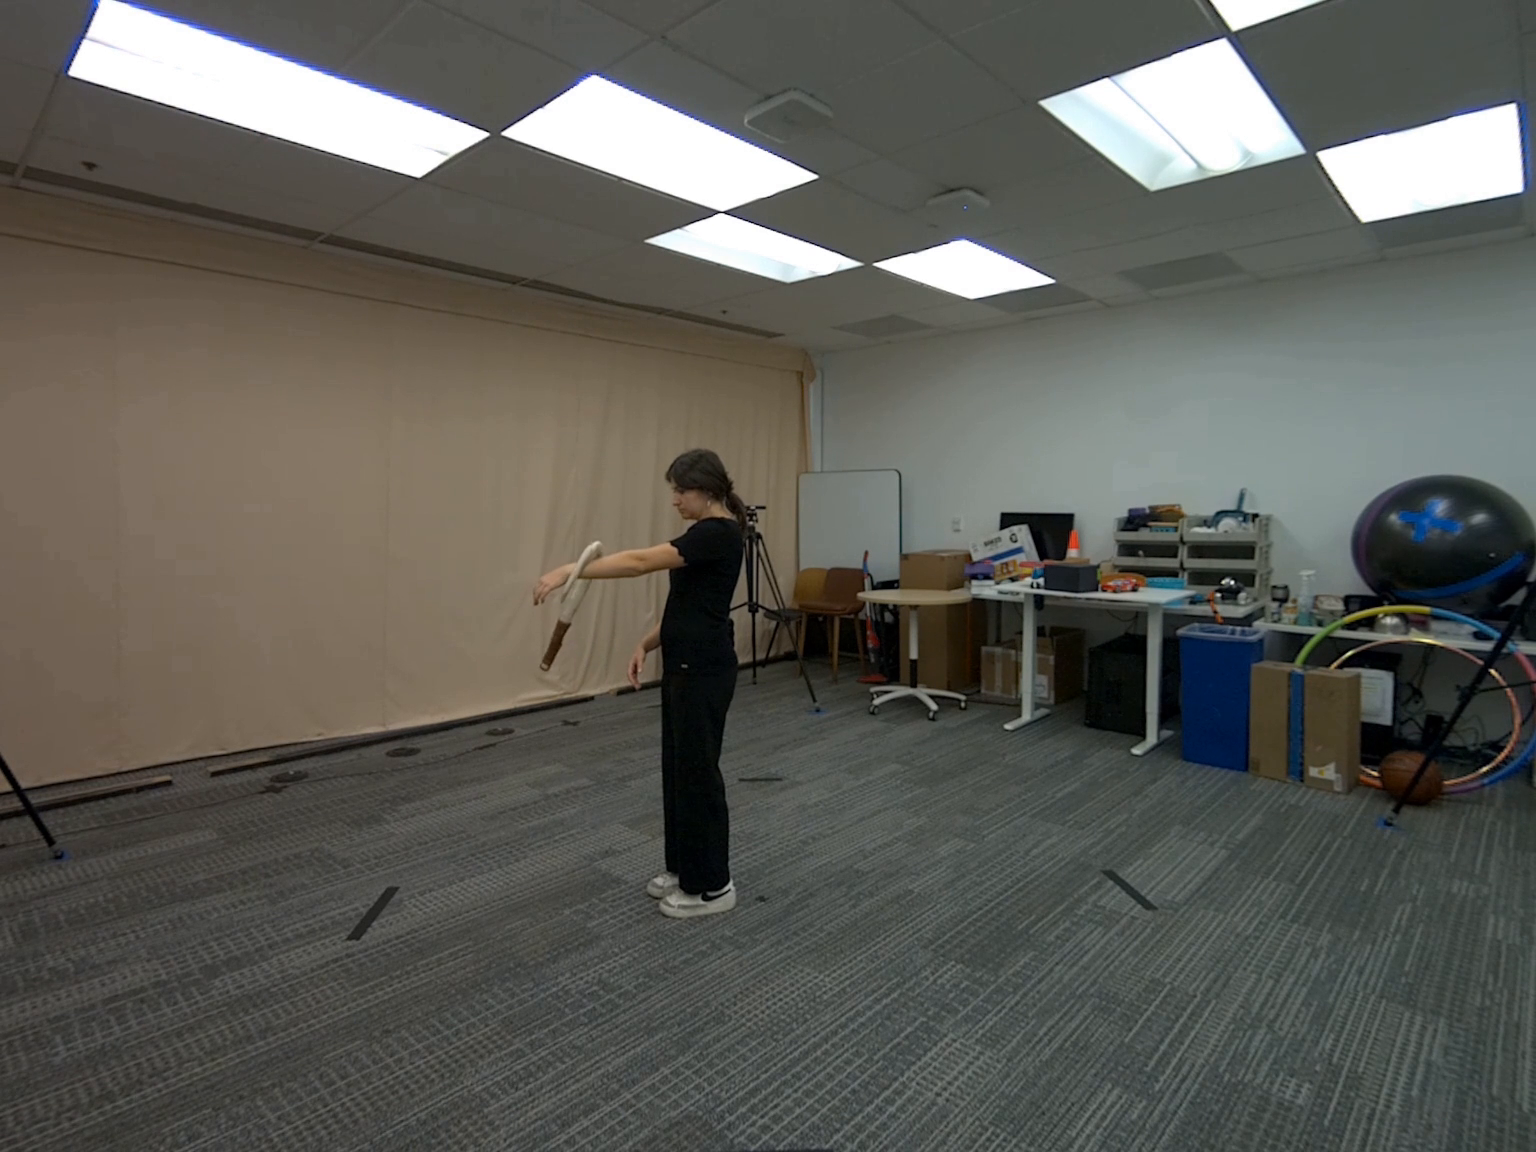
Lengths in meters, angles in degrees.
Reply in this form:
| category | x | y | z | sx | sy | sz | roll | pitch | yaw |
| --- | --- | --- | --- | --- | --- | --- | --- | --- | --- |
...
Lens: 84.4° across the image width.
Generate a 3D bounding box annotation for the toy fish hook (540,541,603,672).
| category | x | y | z | sx | sy | sz | roll | pitch | yaw |
| --- | --- | --- | --- | --- | --- | --- | --- | --- | --- |
| toy fish hook | -0.655 | 0.121 | 2.749 | 0.049 | 0.505 | 0.223 | 26 | 15 | 5 |
